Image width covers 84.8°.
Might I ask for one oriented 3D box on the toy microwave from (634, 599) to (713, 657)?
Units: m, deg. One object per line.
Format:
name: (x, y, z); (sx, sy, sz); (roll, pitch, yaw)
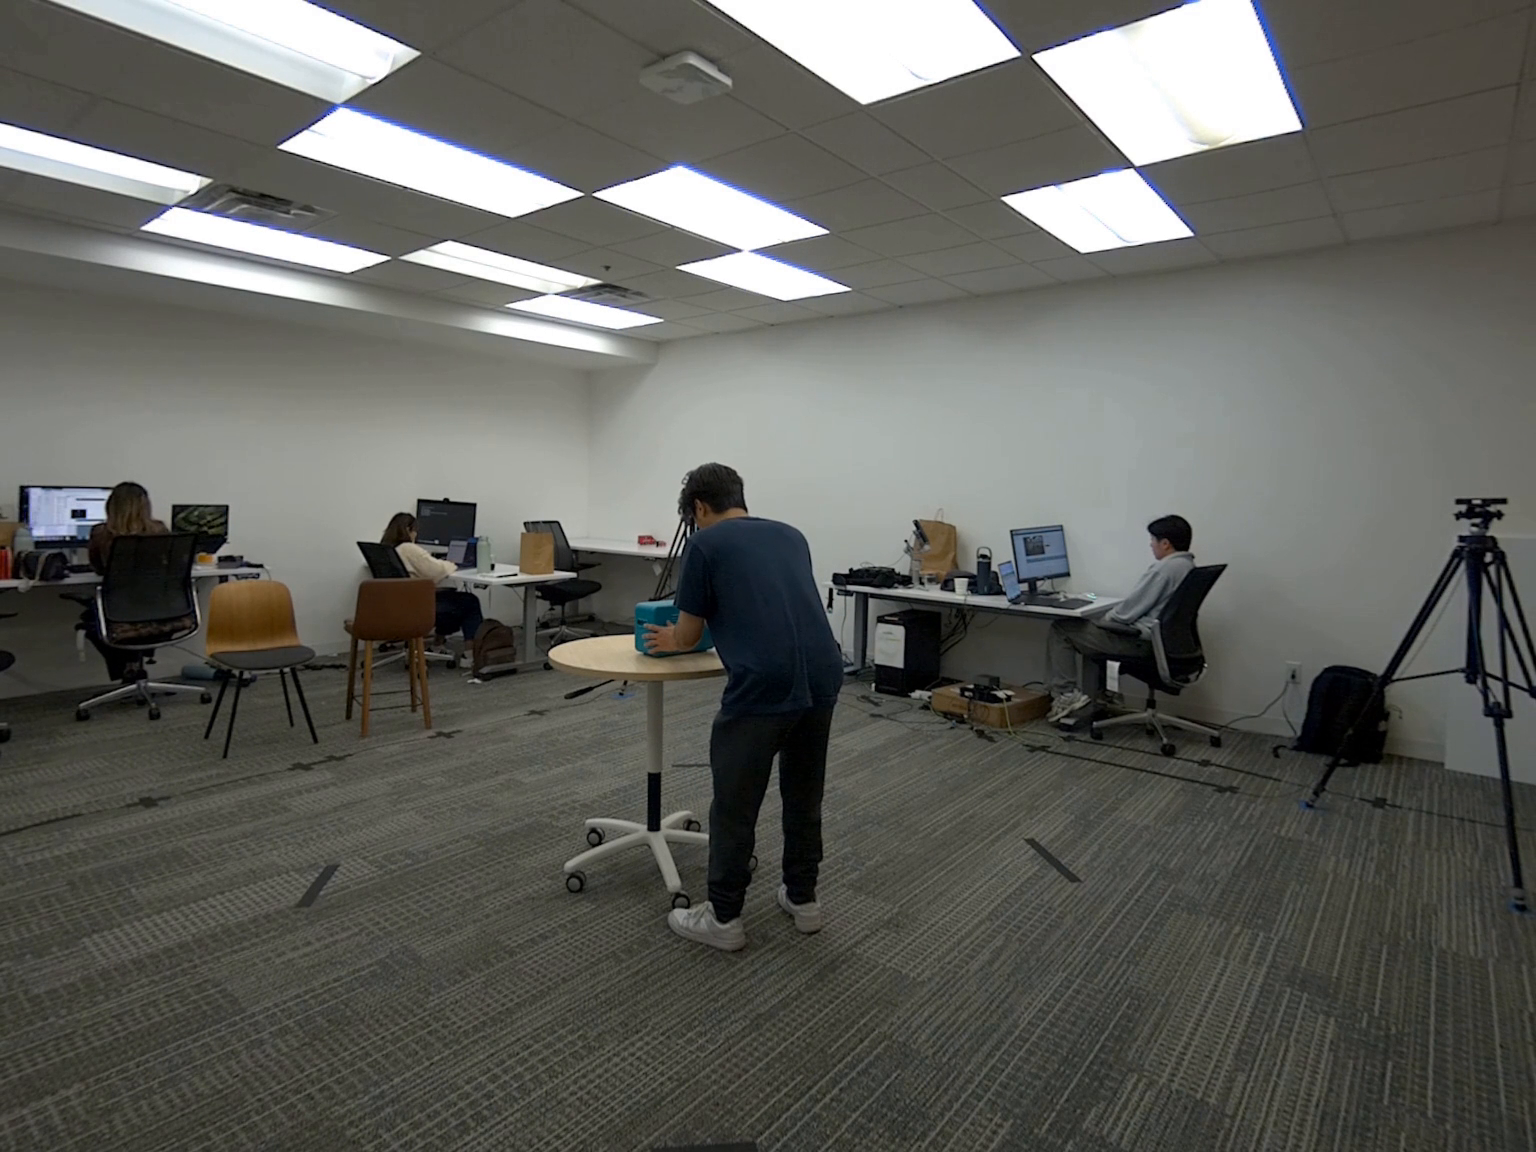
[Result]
toy microwave: (-0.346, 0.179, 3.069); (0.278, 0.184, 0.157); (-3, 5, -40)
